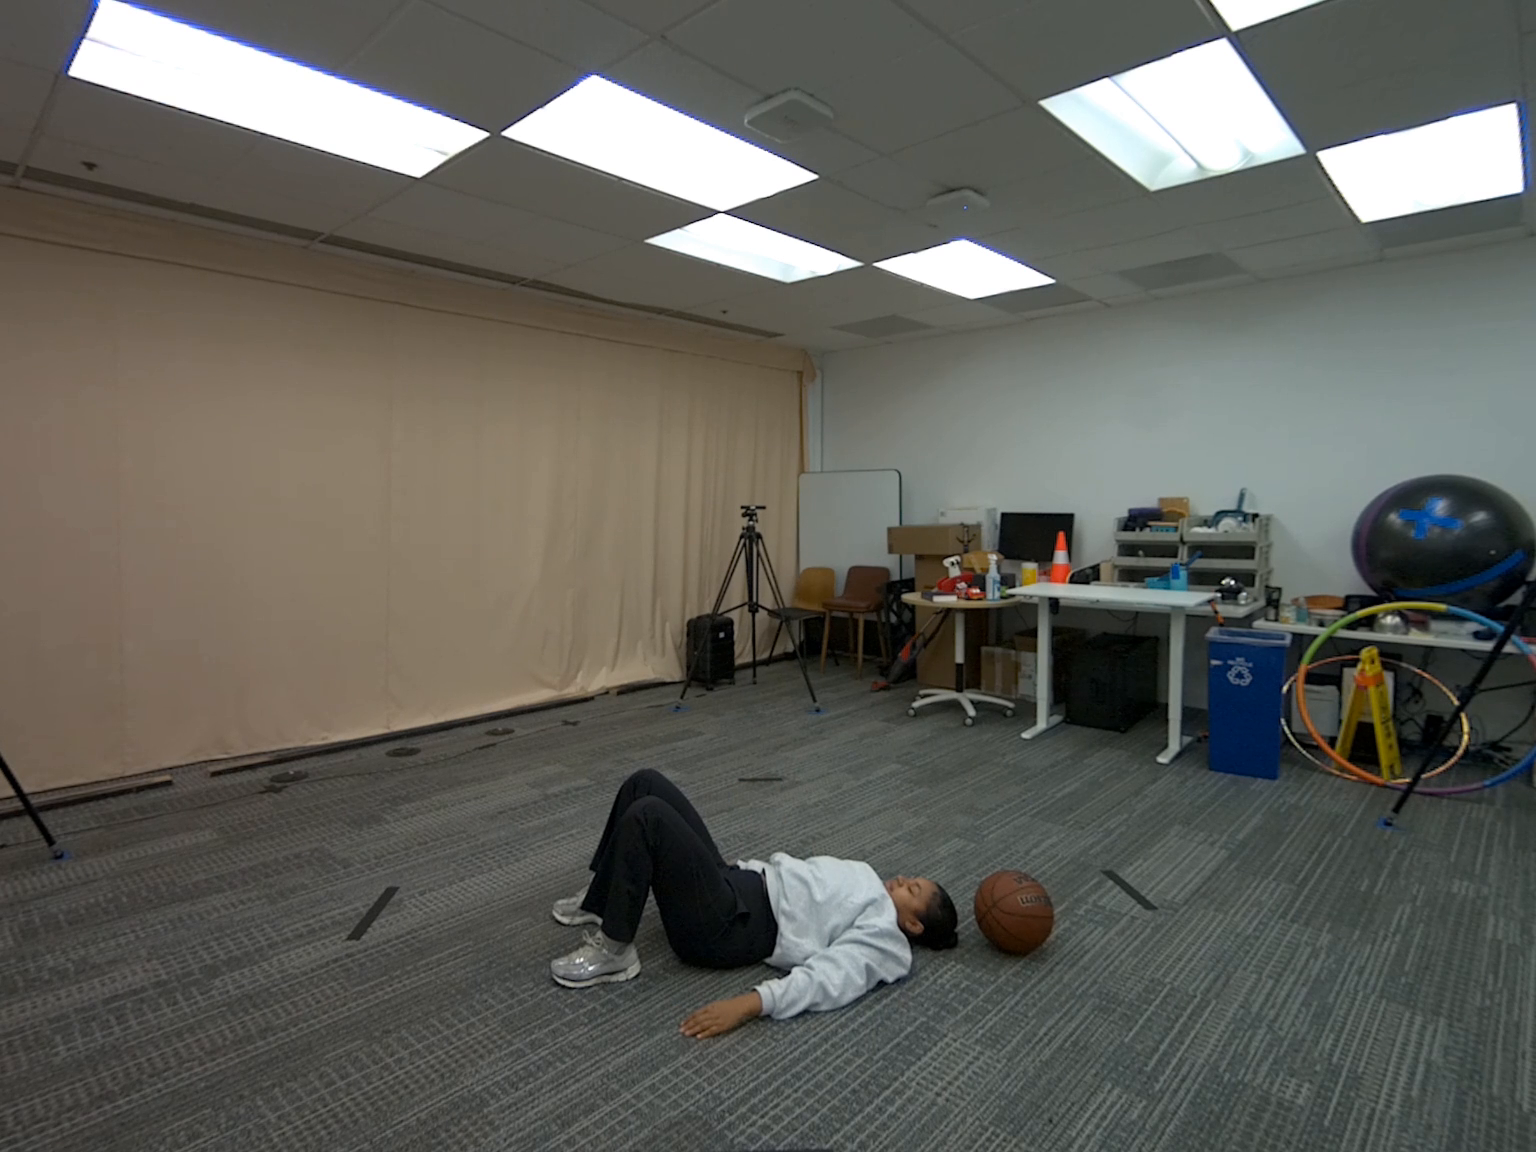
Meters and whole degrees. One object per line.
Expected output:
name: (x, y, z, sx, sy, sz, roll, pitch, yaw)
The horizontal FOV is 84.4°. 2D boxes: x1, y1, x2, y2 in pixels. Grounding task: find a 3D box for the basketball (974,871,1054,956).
basketball: (0.781, 1.058, 2.639, 0.236, 0.235, 0.237, 0, 4, -2)
